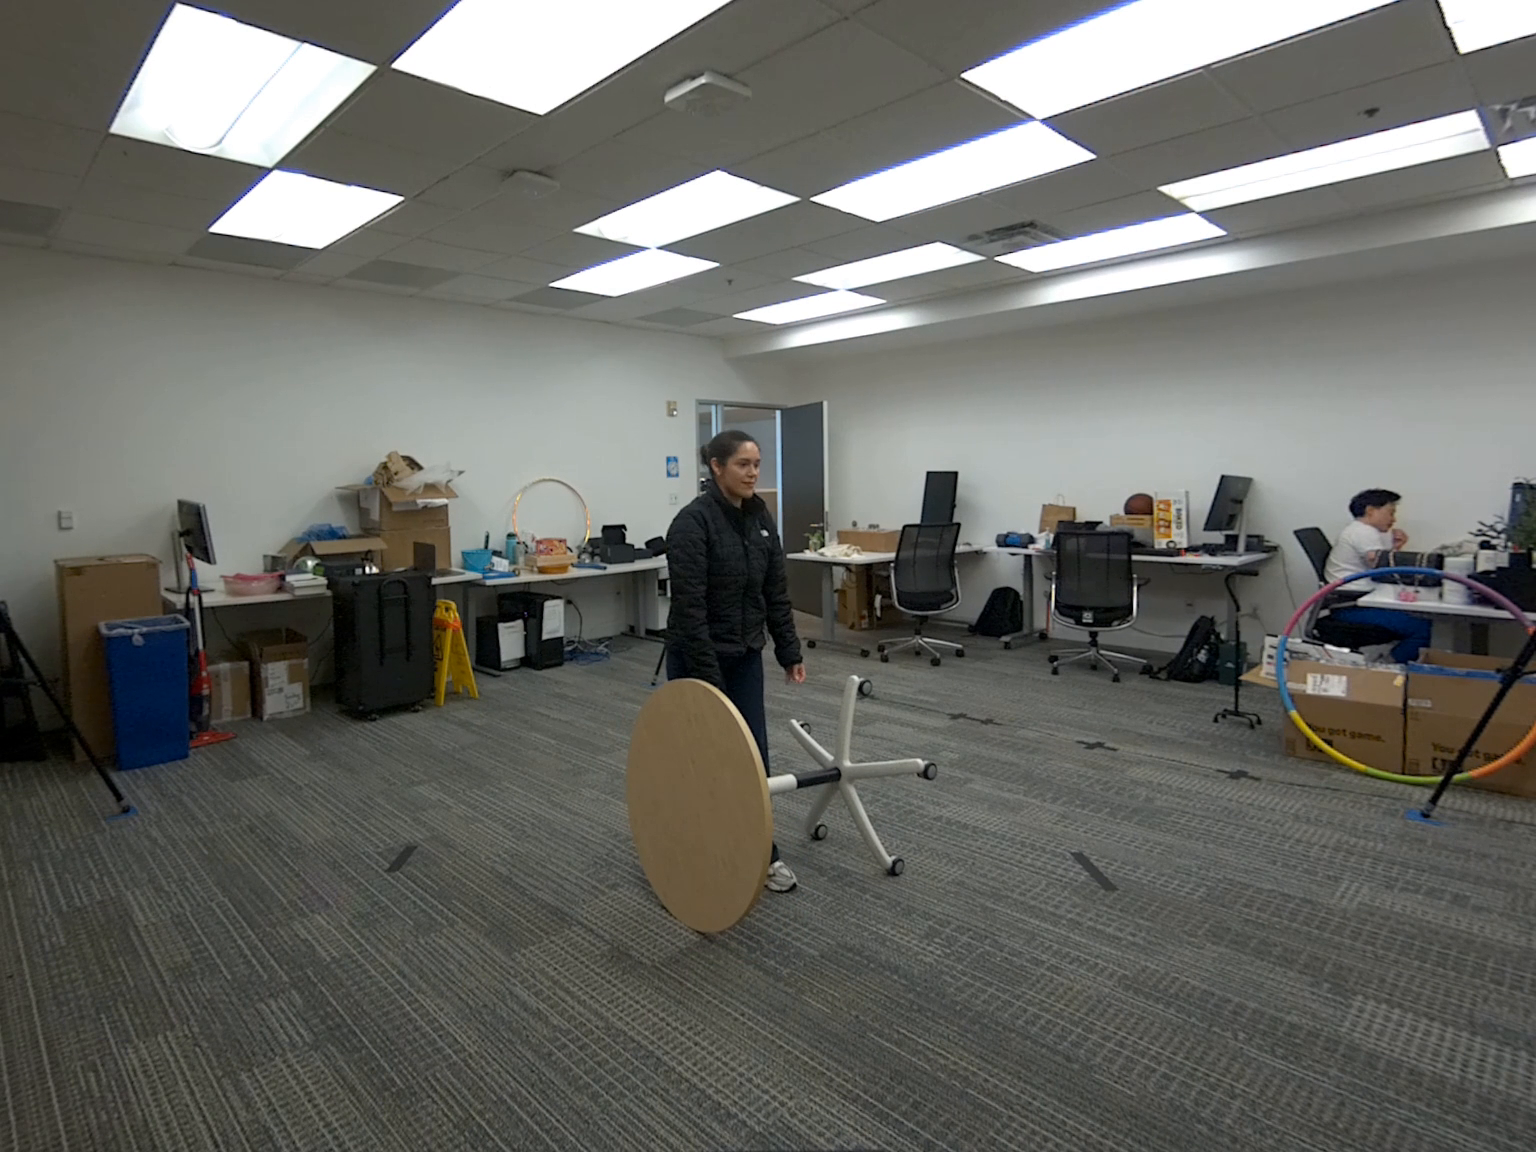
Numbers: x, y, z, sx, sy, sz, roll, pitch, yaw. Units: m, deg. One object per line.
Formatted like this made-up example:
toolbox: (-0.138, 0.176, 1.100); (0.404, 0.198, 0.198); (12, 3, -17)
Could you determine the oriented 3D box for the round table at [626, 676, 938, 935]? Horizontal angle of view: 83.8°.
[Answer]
round table: (0.040, 0.721, 2.956); (0.763, 0.785, 0.809); (3, 1, -40)
